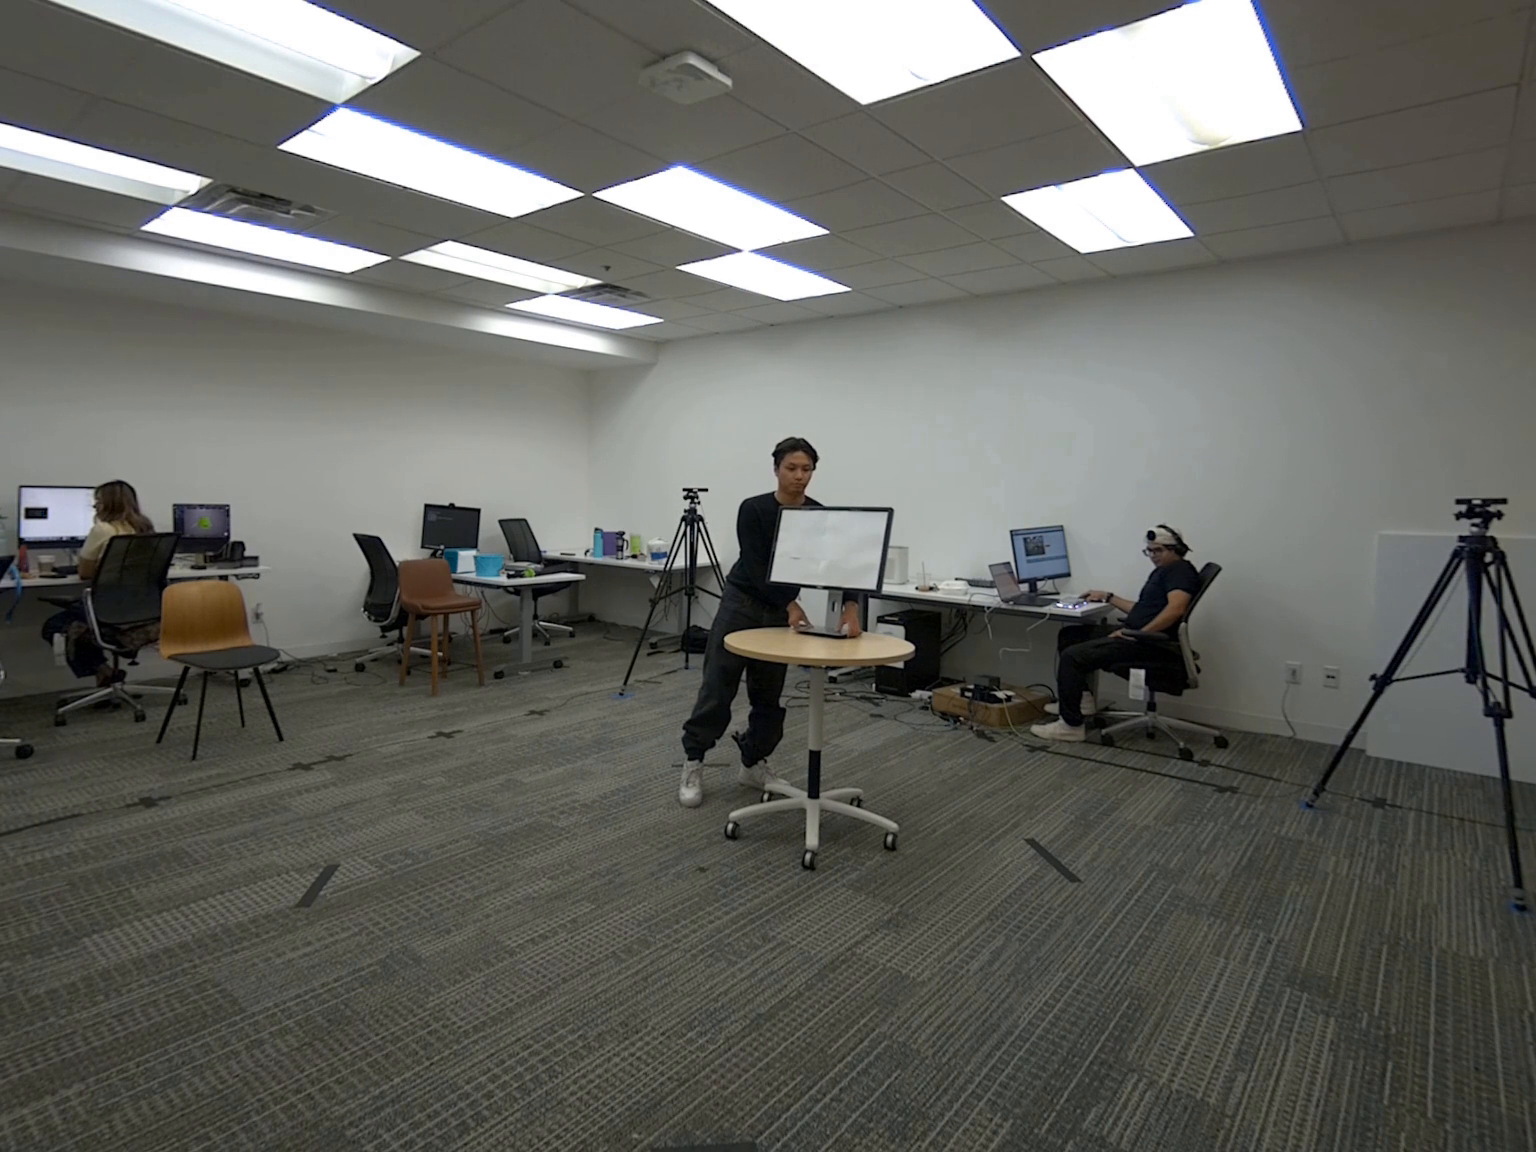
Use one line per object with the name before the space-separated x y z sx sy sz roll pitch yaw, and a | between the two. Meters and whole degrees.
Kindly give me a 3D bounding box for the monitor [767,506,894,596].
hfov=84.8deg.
monitor | 0.267 -0.033 3.658 0.556 0.523 0.181 3 0 35
